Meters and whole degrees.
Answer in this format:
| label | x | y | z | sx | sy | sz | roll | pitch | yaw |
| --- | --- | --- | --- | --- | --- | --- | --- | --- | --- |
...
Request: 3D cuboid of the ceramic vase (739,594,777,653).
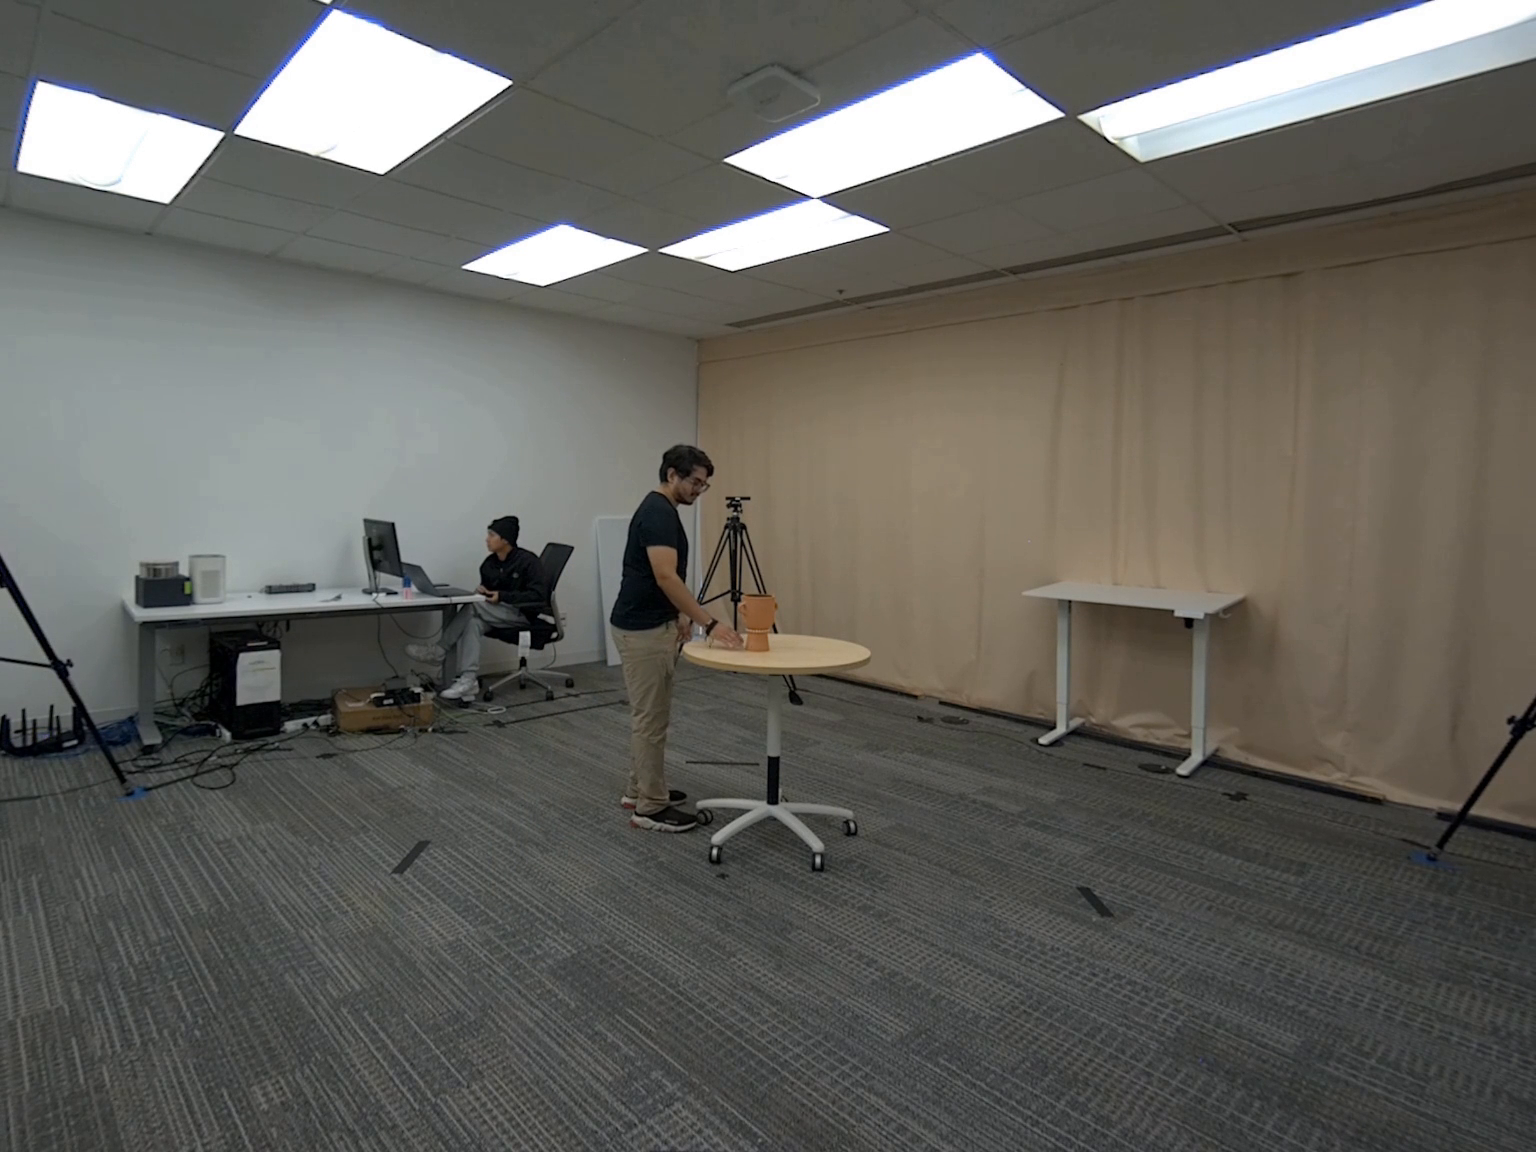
| label | x | y | z | sx | sy | sz | roll | pitch | yaw |
| --- | --- | --- | --- | --- | --- | --- | --- | --- | --- |
| ceramic vase | -0.049 | 0.193 | 3.414 | 0.159 | 0.219 | 0.134 | 3 | 2 | 3 |
